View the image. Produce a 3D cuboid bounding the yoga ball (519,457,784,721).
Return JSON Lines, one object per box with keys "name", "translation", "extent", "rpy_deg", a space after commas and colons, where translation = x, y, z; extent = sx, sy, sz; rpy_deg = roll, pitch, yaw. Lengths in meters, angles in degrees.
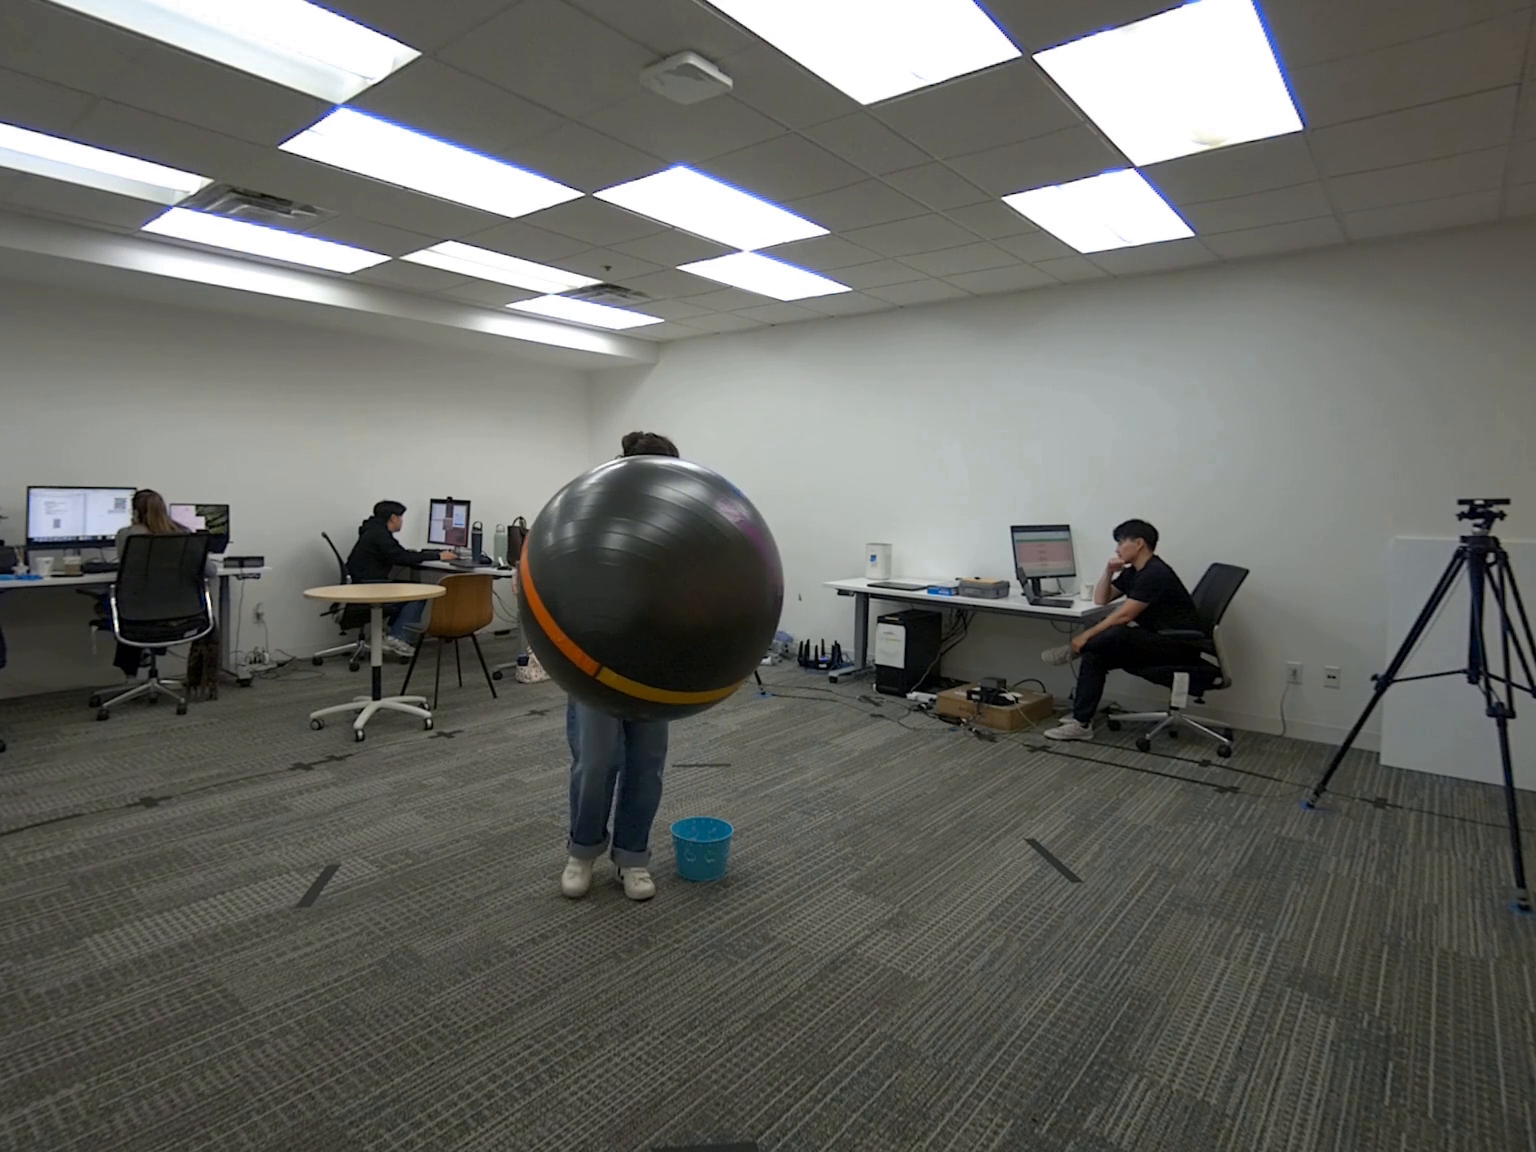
{"name": "yoga ball", "translation": [-0.341, 0.036, 2.447], "extent": [0.757, 0.756, 0.762], "rpy_deg": [1, 4, -2]}
